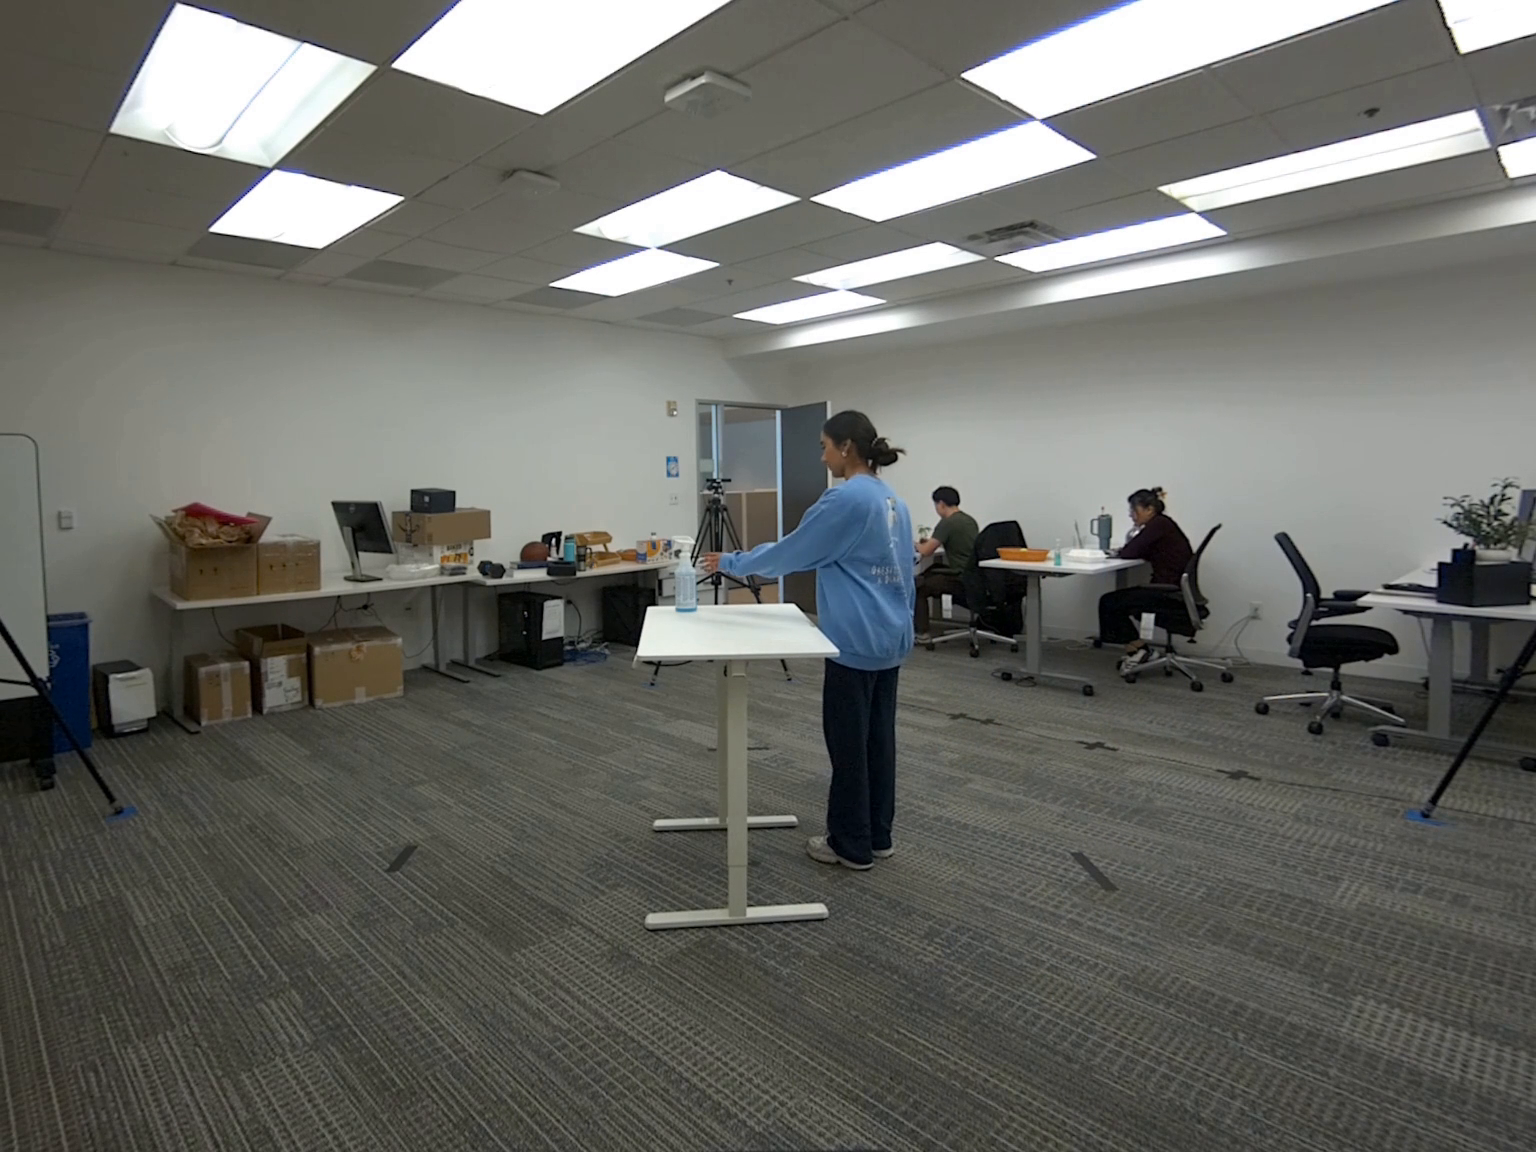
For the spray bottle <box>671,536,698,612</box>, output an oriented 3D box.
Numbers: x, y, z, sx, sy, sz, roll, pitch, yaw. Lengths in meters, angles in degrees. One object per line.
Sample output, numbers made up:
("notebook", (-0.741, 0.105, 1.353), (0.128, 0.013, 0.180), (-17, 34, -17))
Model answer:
("spray bottle", (-0.321, -0.009, 3.371), (0.091, 0.296, 0.086), (0, 4, 16))
